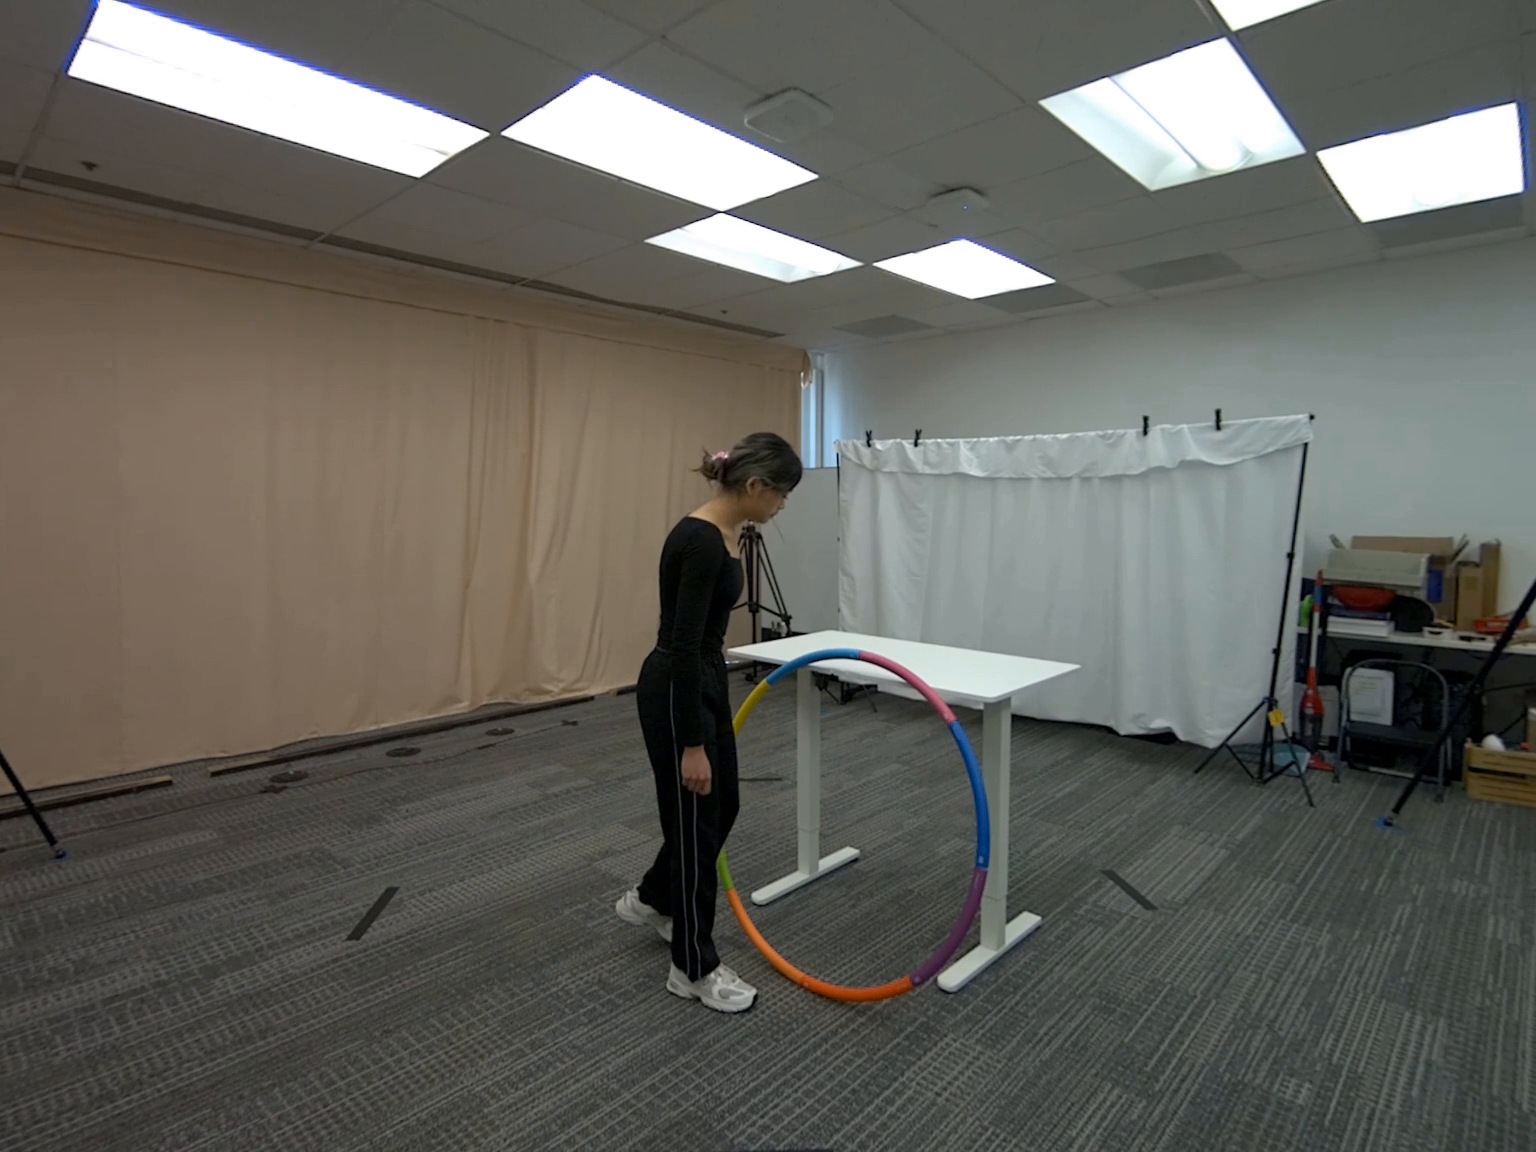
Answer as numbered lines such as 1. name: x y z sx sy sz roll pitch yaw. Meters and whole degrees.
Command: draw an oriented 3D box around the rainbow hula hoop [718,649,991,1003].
1. rainbow hula hoop: 0.195 0.711 2.497 1.011 0.982 0.034 3 -10 42
